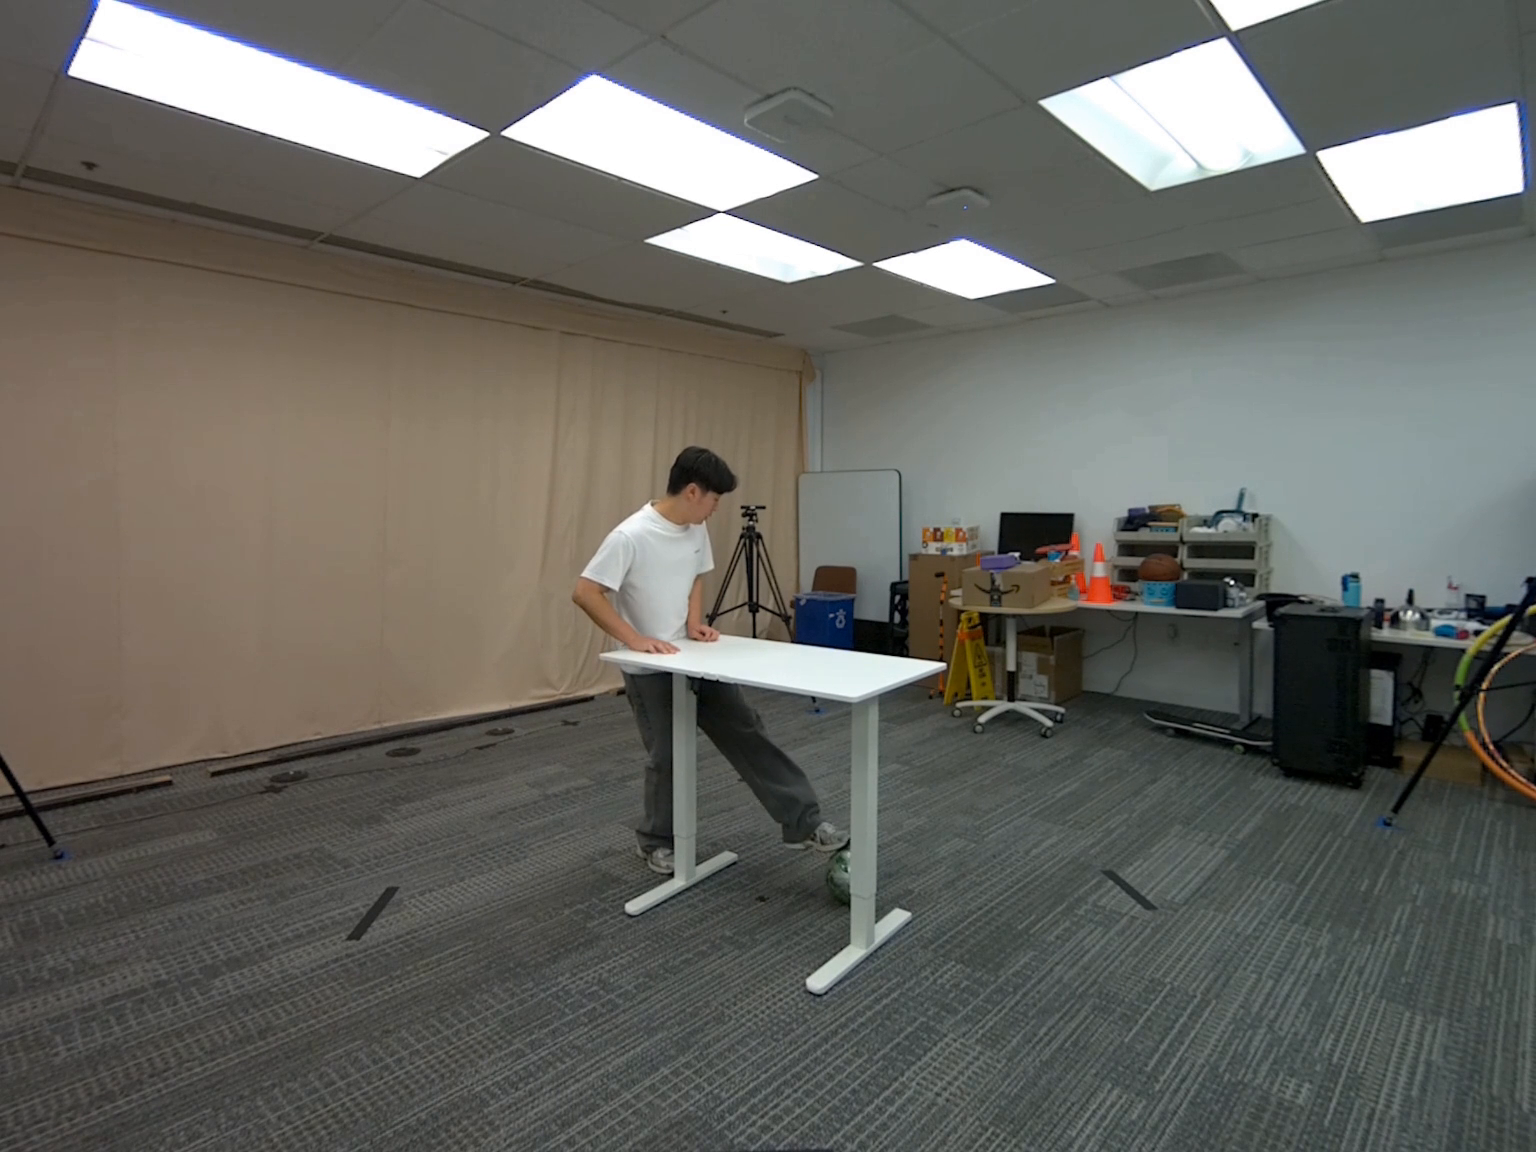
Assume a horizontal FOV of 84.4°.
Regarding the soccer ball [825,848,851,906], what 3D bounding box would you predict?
[{"bbox_3d":[0.294,1.050,2.961,0.187,0.187,0.188,0,4,-2],"label":"soccer ball"}]
